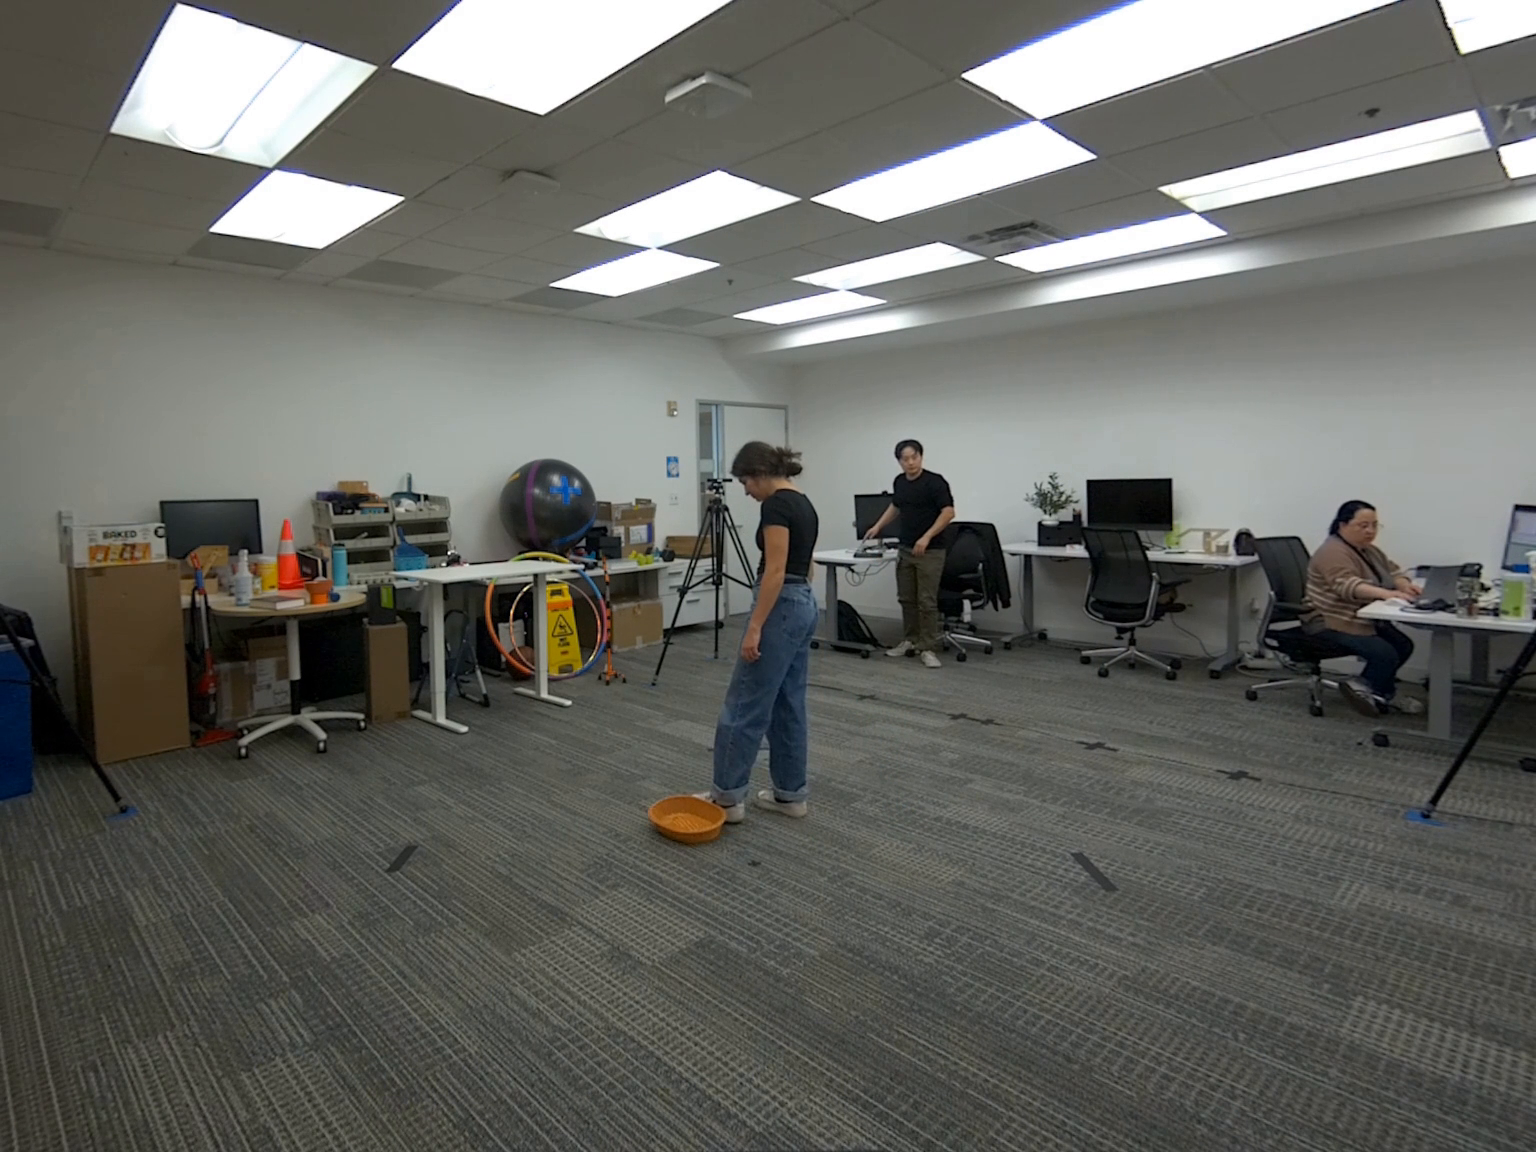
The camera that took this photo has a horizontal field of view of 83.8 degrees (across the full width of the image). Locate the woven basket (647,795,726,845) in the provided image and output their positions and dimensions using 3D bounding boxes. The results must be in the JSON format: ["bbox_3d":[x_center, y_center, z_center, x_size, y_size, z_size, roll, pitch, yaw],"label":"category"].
[{"bbox_3d":[-0.320,0.975,3.392,0.247,0.072,0.362,-14,16,-39],"label":"woven basket"}]
